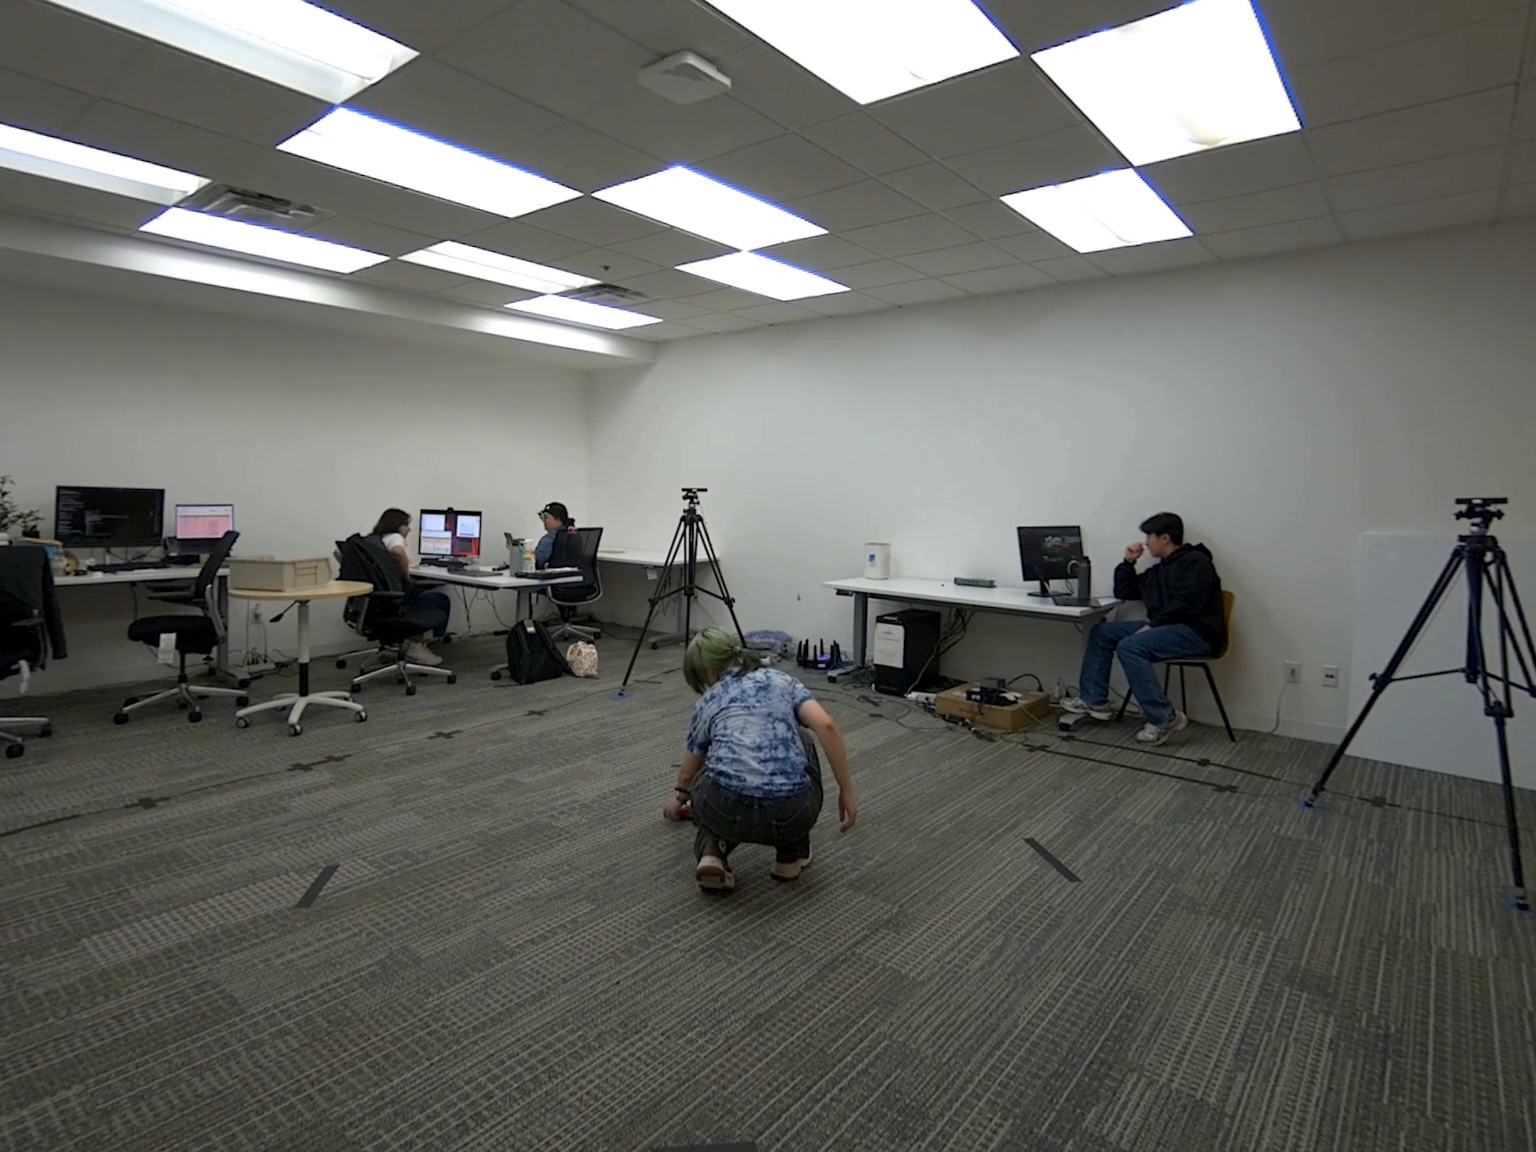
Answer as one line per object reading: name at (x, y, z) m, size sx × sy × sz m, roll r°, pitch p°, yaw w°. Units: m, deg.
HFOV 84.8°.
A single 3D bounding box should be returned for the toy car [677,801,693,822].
toy car at (-0.298, 0.989, 3.598) m, size 0.255 × 0.083 × 0.130 m, roll -11°, pitch 2°, yaw 0°
